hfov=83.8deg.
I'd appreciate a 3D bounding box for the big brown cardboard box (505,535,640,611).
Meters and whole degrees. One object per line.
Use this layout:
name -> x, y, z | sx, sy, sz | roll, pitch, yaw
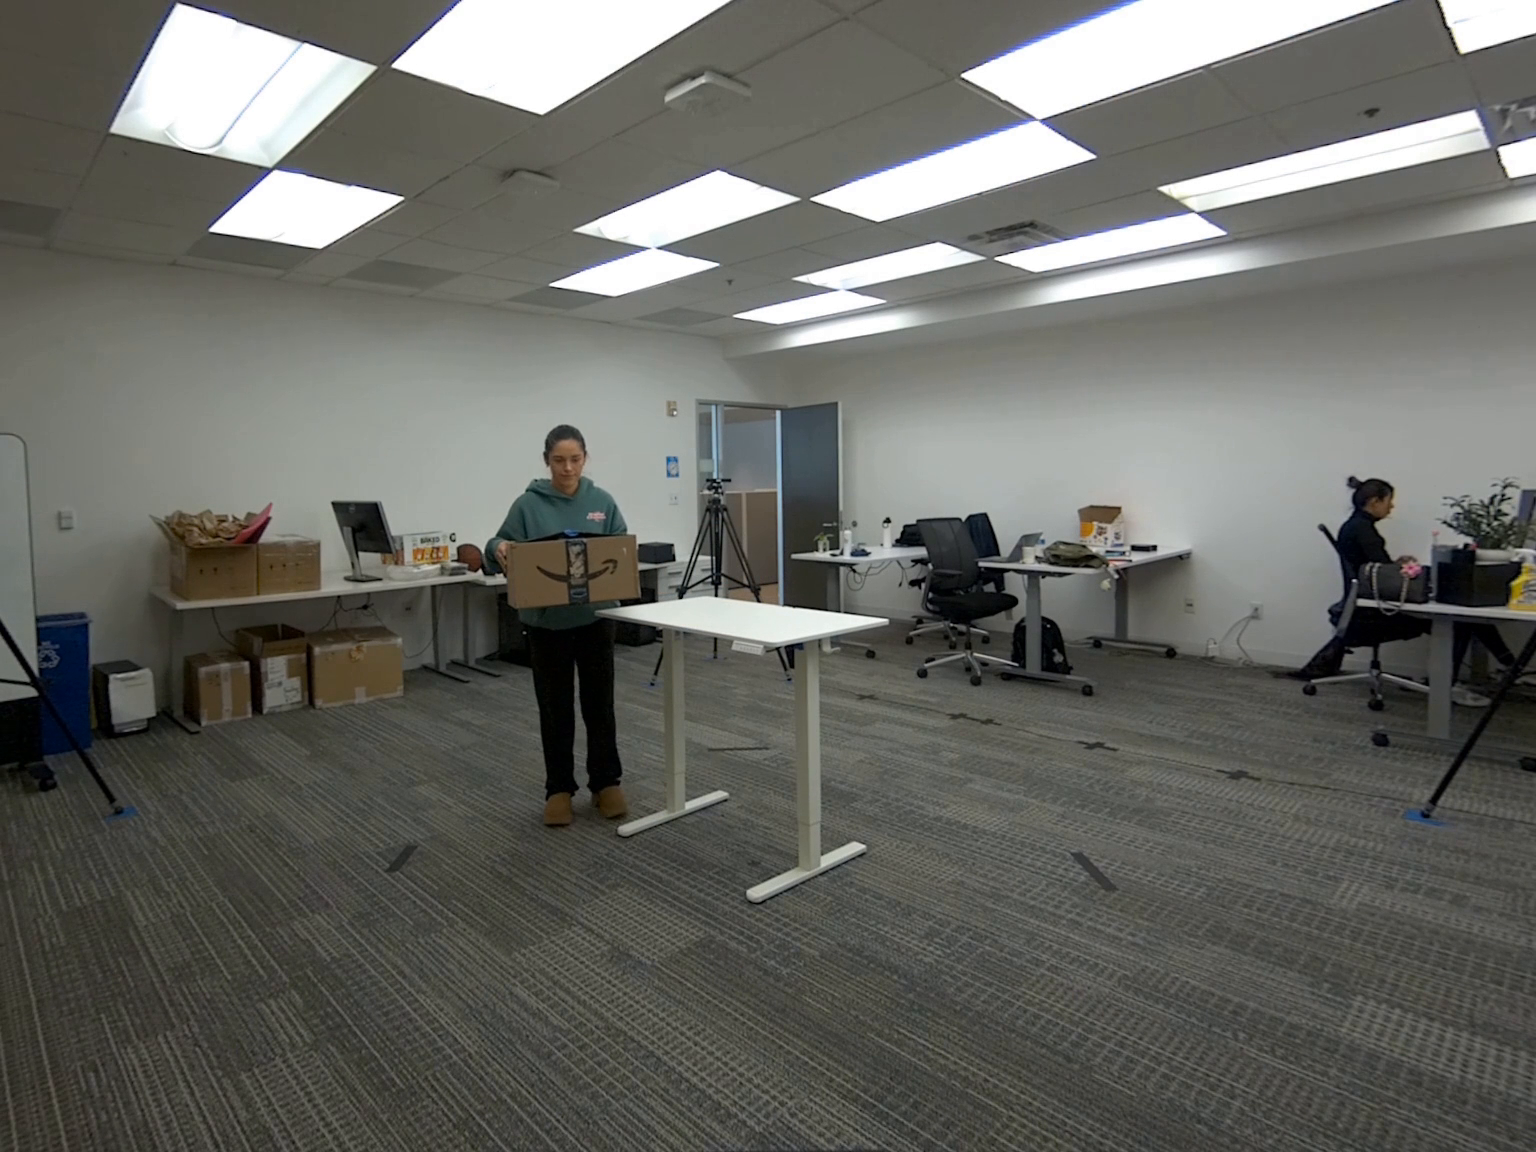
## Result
big brown cardboard box -> -0.716, -0.022, 3.085 | 0.412, 0.233, 0.597 | -4, 1, -17
